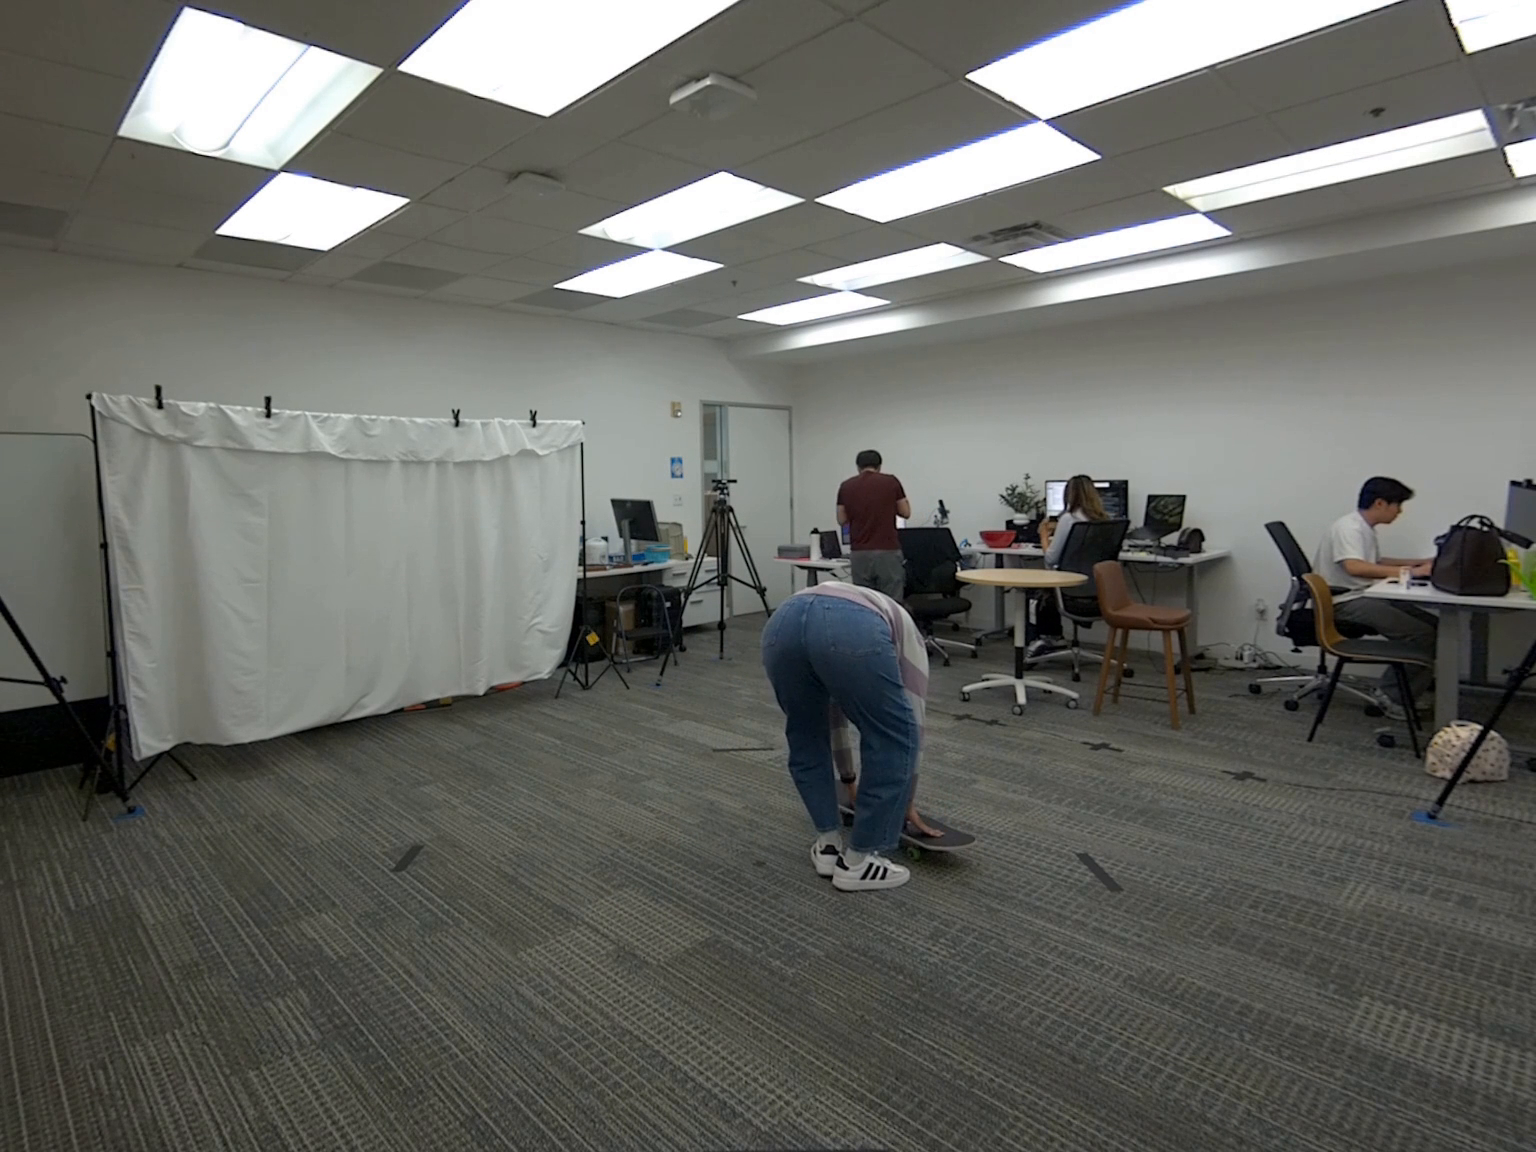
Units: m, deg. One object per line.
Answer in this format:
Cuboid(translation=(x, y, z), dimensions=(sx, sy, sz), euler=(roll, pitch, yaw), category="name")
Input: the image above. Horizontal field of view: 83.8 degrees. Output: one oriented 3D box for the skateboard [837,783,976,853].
Cuboid(translation=(0.475, 0.959, 3.317), dimensions=(0.189, 0.110, 0.808), euler=(-4, 7, -33), category="skateboard")
